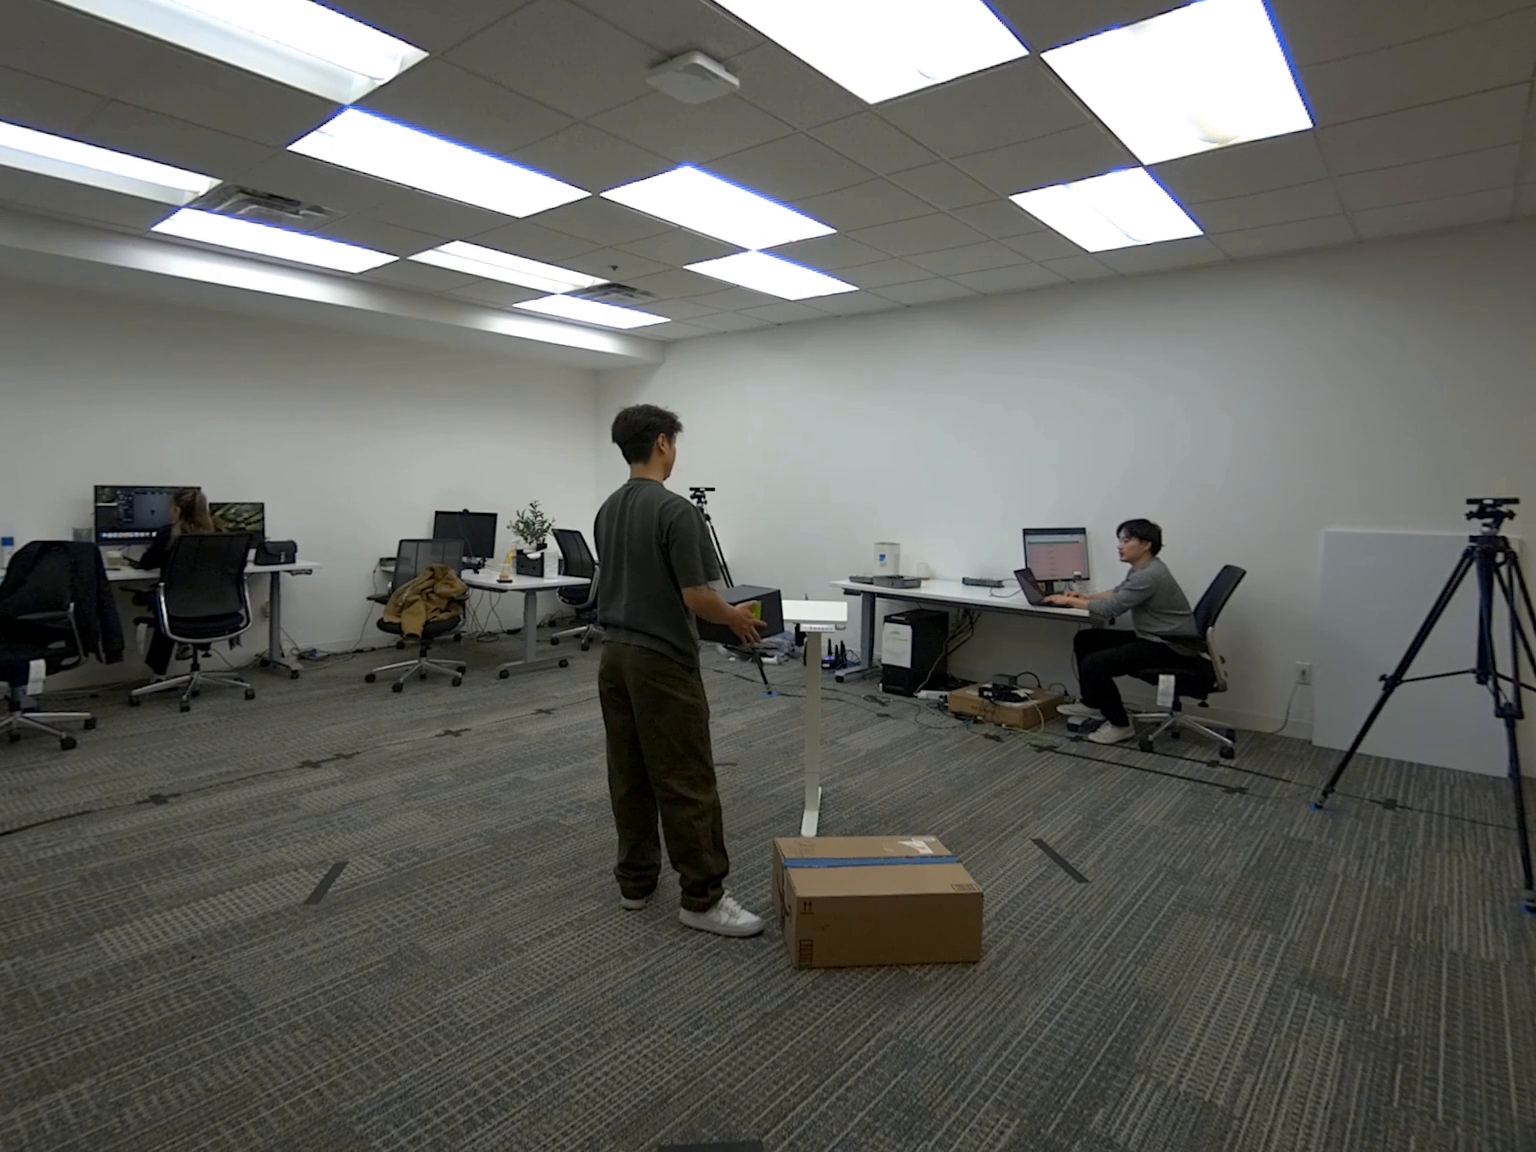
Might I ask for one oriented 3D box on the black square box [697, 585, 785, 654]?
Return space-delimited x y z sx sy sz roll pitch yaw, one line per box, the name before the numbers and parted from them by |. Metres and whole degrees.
black square box | -0.103 0.134 3.023 0.222 0.154 0.224 -13 12 -39
